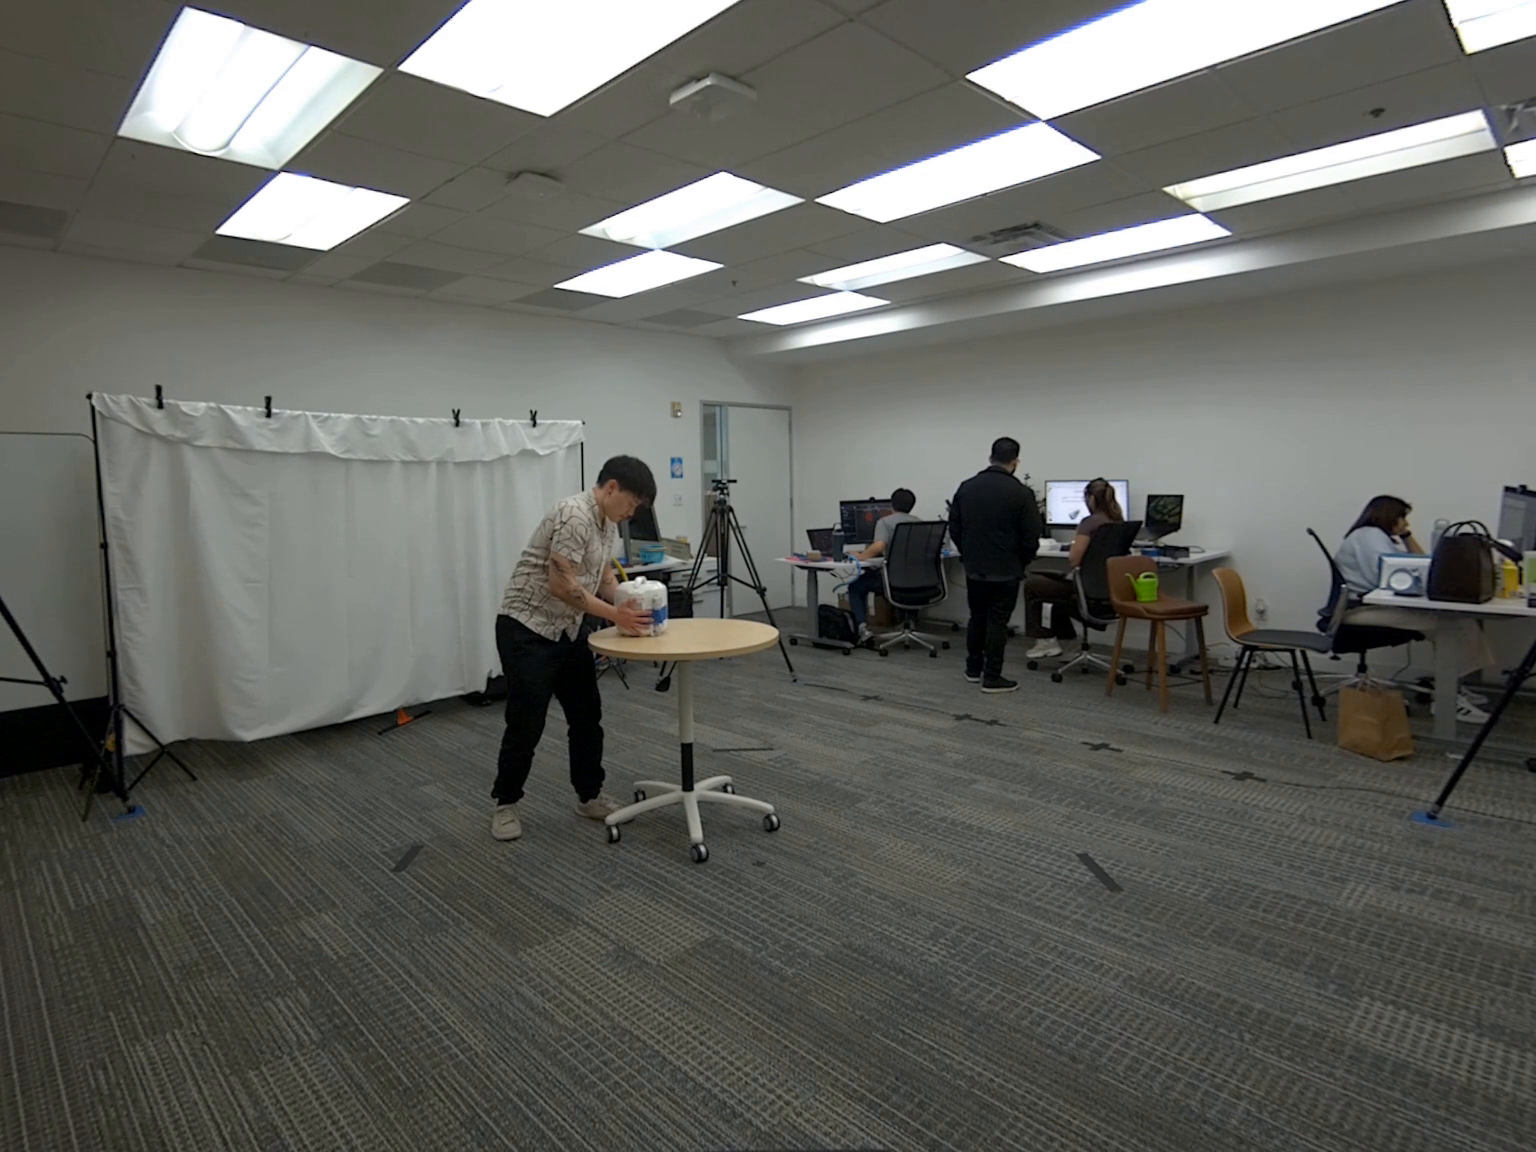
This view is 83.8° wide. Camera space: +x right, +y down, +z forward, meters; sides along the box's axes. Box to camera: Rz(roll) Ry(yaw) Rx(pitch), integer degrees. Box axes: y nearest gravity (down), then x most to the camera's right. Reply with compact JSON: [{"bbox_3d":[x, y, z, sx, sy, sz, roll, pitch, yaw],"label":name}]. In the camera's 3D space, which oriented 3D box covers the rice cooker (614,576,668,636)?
[{"bbox_3d":[-0.519,0.117,3.474,0.219,0.232,0.220,0,4,5],"label":"rice cooker"}]
